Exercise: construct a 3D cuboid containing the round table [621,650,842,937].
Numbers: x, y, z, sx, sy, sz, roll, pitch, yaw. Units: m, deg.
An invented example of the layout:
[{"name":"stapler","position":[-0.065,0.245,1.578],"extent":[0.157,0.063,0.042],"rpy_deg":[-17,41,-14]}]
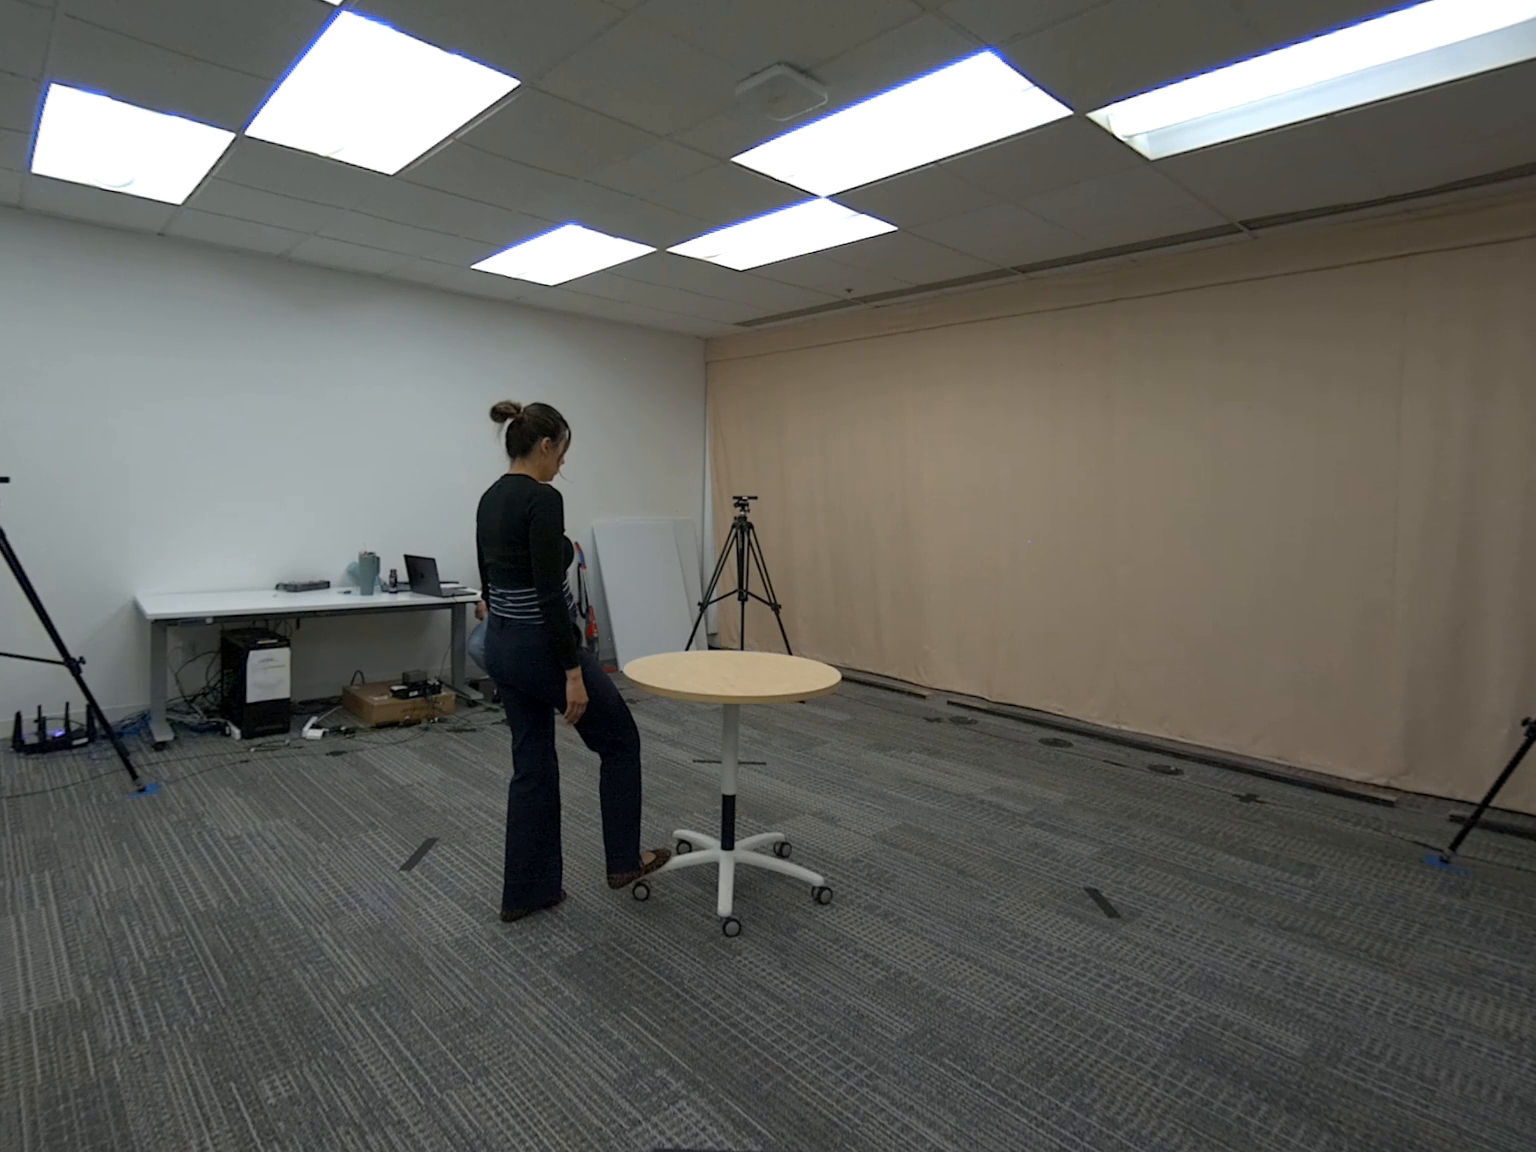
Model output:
[{"name":"round table","position":[-0.138,0.727,2.992],"extent":[0.763,0.792,0.766],"rpy_deg":[1,4,-1]}]
